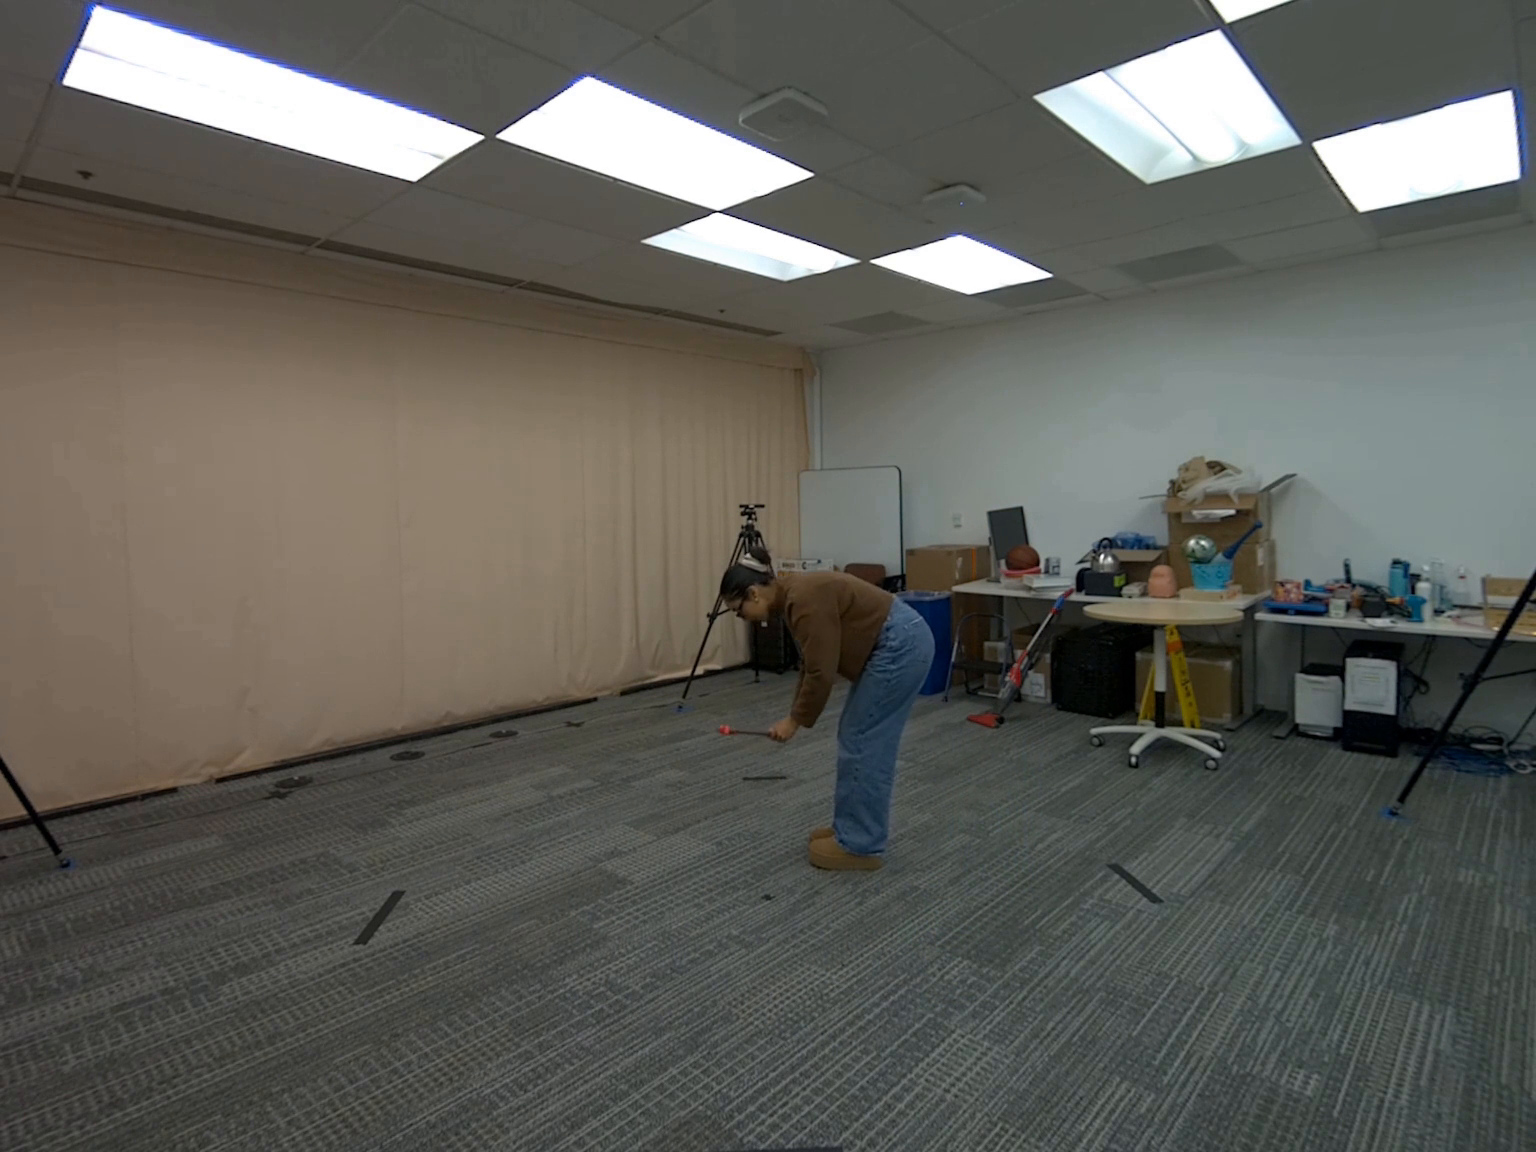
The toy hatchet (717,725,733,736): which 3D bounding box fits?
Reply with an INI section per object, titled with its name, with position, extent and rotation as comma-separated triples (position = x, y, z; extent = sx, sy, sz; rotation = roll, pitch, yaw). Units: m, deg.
[toy hatchet]
position = -0.066, 0.629, 3.339
extent = 0.269, 0.030, 0.130
rotation = 6, -19, -3
